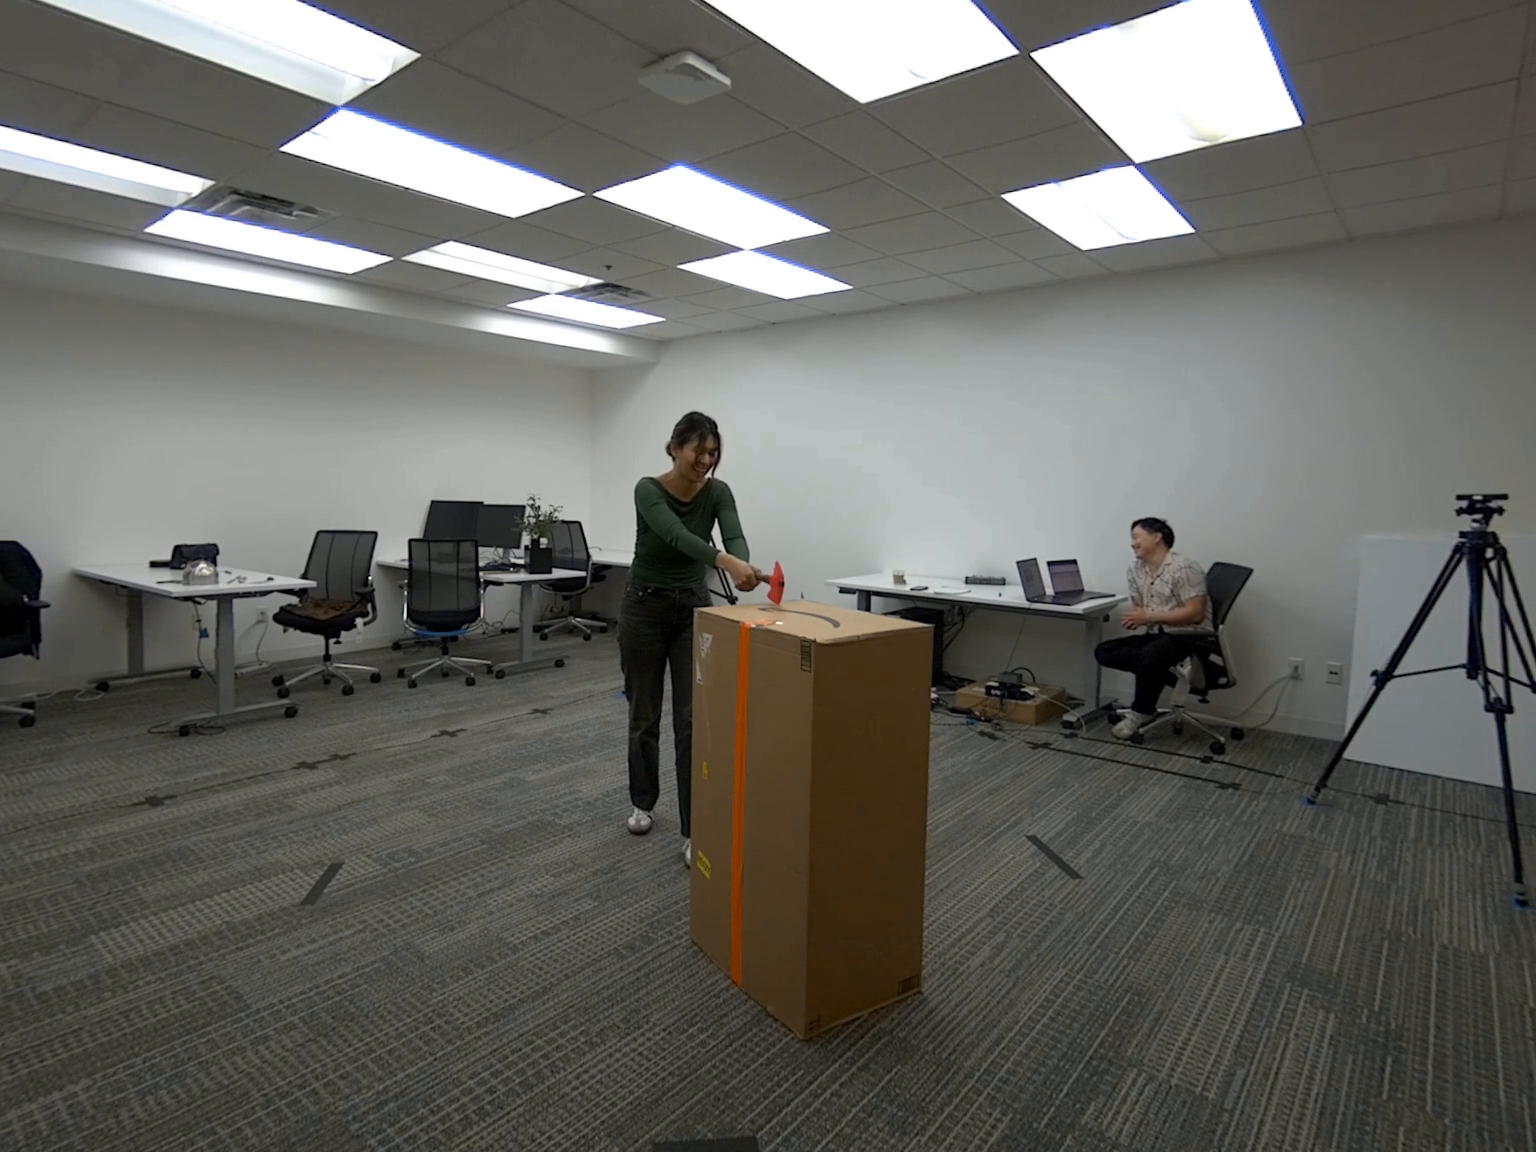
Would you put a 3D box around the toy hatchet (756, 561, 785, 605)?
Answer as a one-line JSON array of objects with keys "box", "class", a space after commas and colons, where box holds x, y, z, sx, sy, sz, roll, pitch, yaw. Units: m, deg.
[{"box": [-0.028, 0.019, 2.708, 0.029, 0.133, 0.273, -8, -10, -28], "class": "toy hatchet"}]
